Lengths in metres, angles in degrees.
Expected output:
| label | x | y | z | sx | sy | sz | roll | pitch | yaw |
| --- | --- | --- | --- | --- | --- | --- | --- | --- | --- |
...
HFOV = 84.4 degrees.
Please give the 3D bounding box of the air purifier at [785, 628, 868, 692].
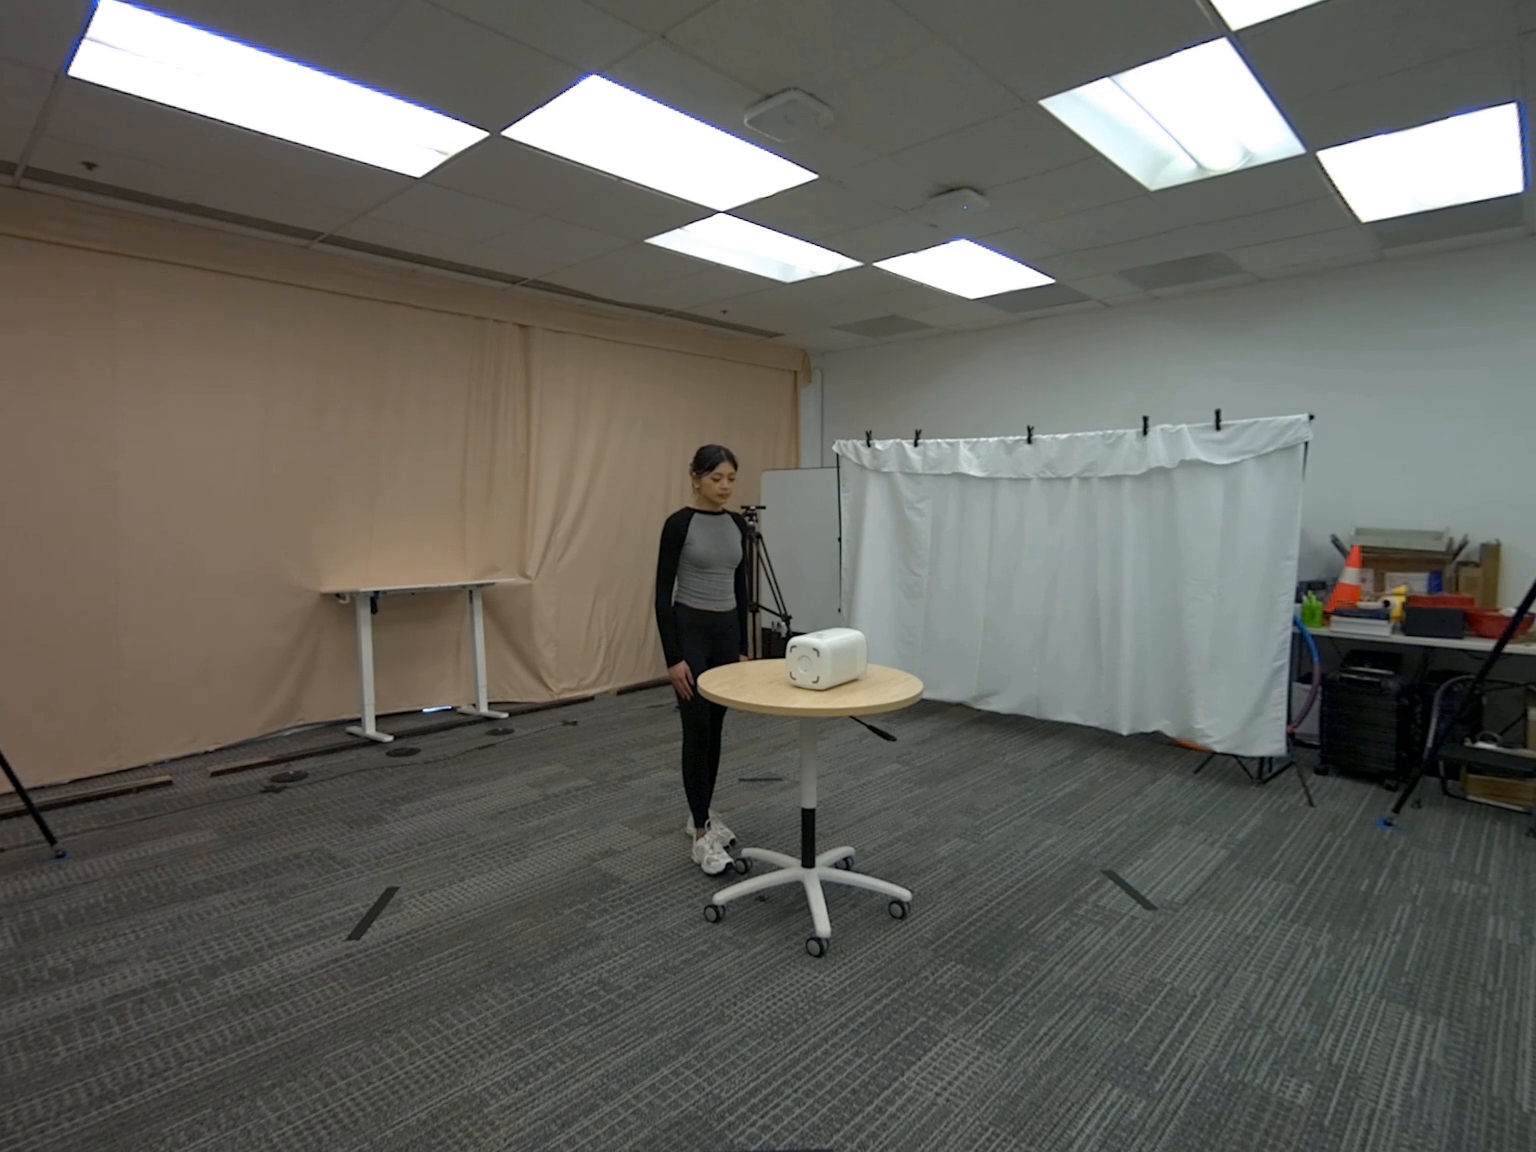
| label | x | y | z | sx | sy | sz | roll | pitch | yaw |
| --- | --- | --- | --- | --- | --- | --- | --- | --- | --- |
| air purifier | 0.198 | 0.275 | 2.832 | 0.177 | 0.171 | 0.257 | 5 | 7 | 38 |
